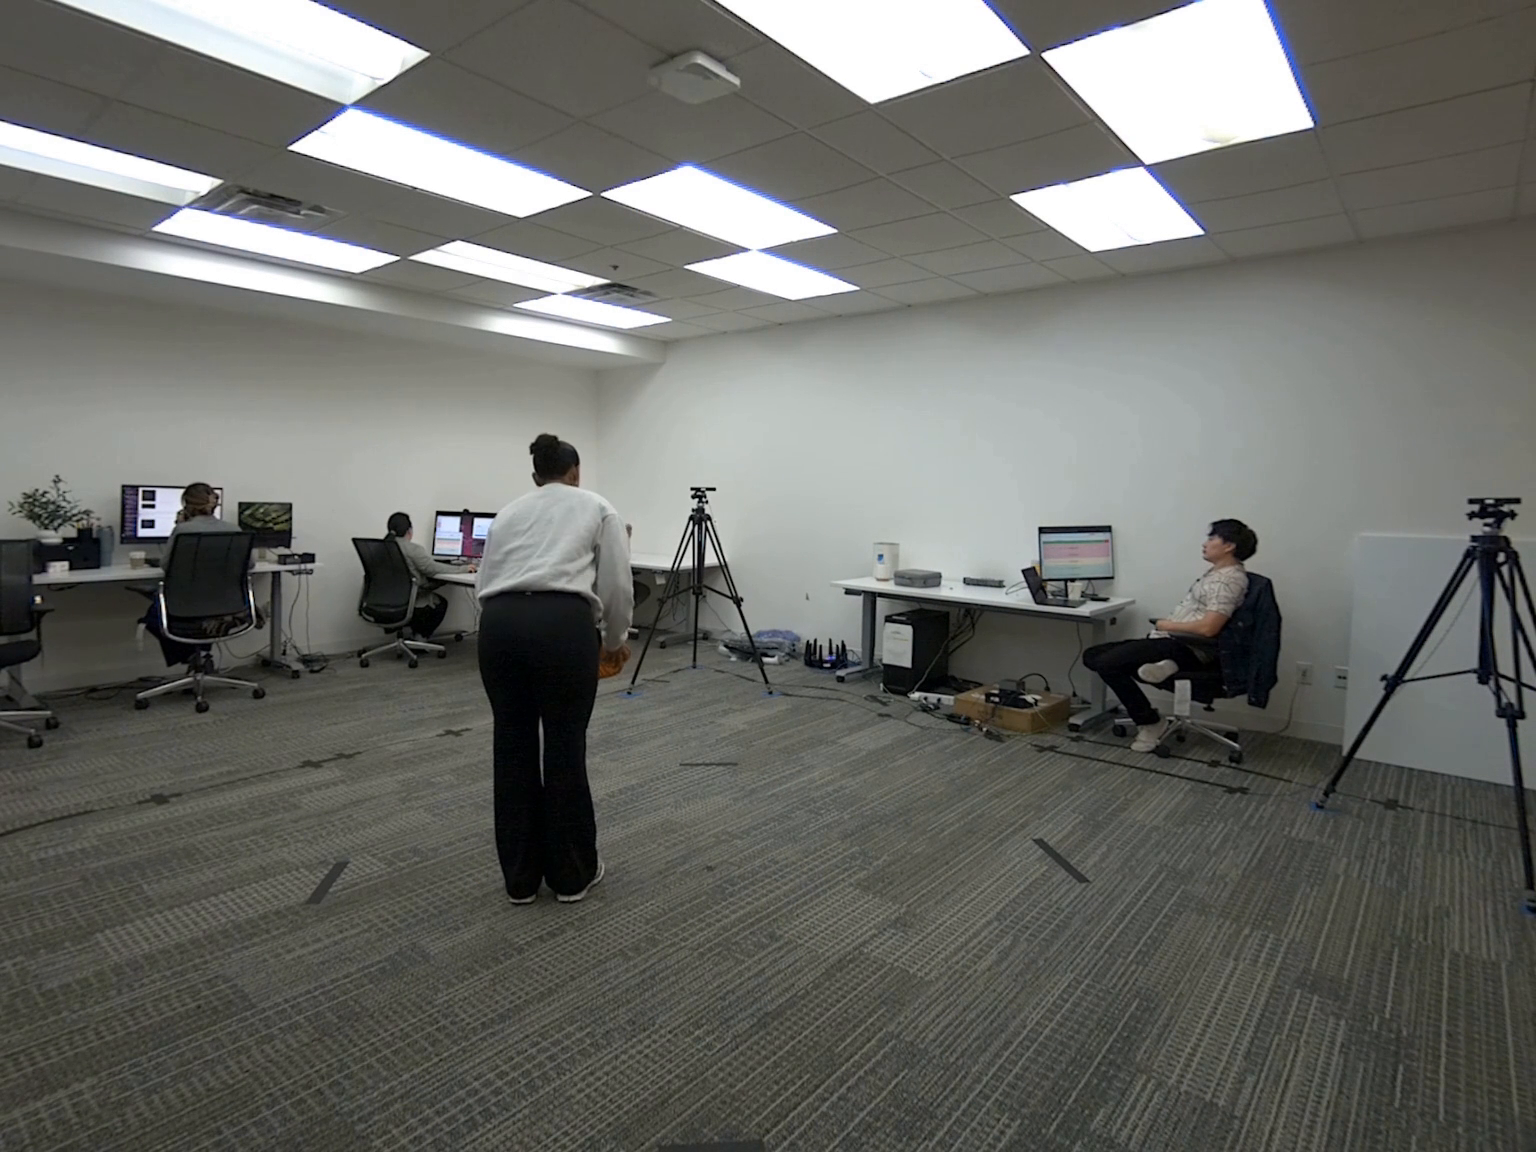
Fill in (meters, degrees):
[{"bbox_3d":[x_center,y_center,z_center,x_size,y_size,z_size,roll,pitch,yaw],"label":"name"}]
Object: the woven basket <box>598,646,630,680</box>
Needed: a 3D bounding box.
[{"bbox_3d":[-0.702,0.317,3.196,0.356,0.075,0.242,-15,-38,22],"label":"woven basket"}]
